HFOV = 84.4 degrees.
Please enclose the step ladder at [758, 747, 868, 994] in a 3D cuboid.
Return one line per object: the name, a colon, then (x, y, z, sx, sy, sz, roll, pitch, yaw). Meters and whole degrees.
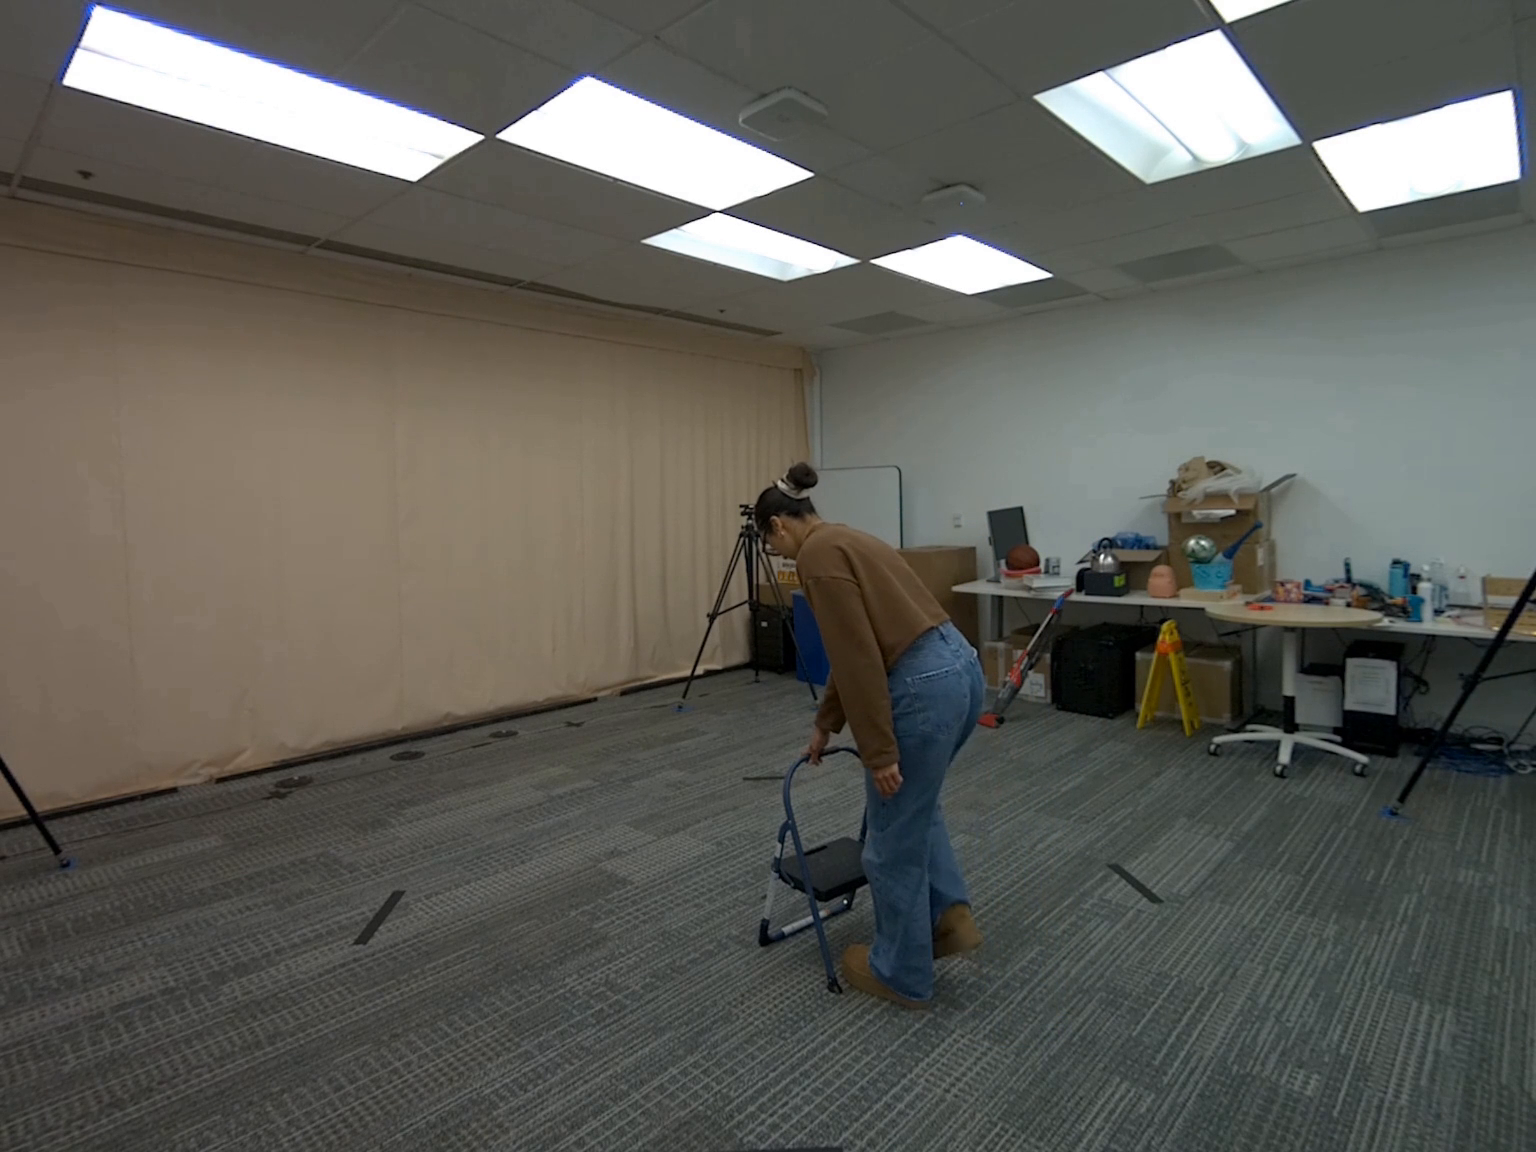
step ladder: (0.234, 0.863, 2.640, 0.418, 0.605, 0.361, -4, 4, -40)
